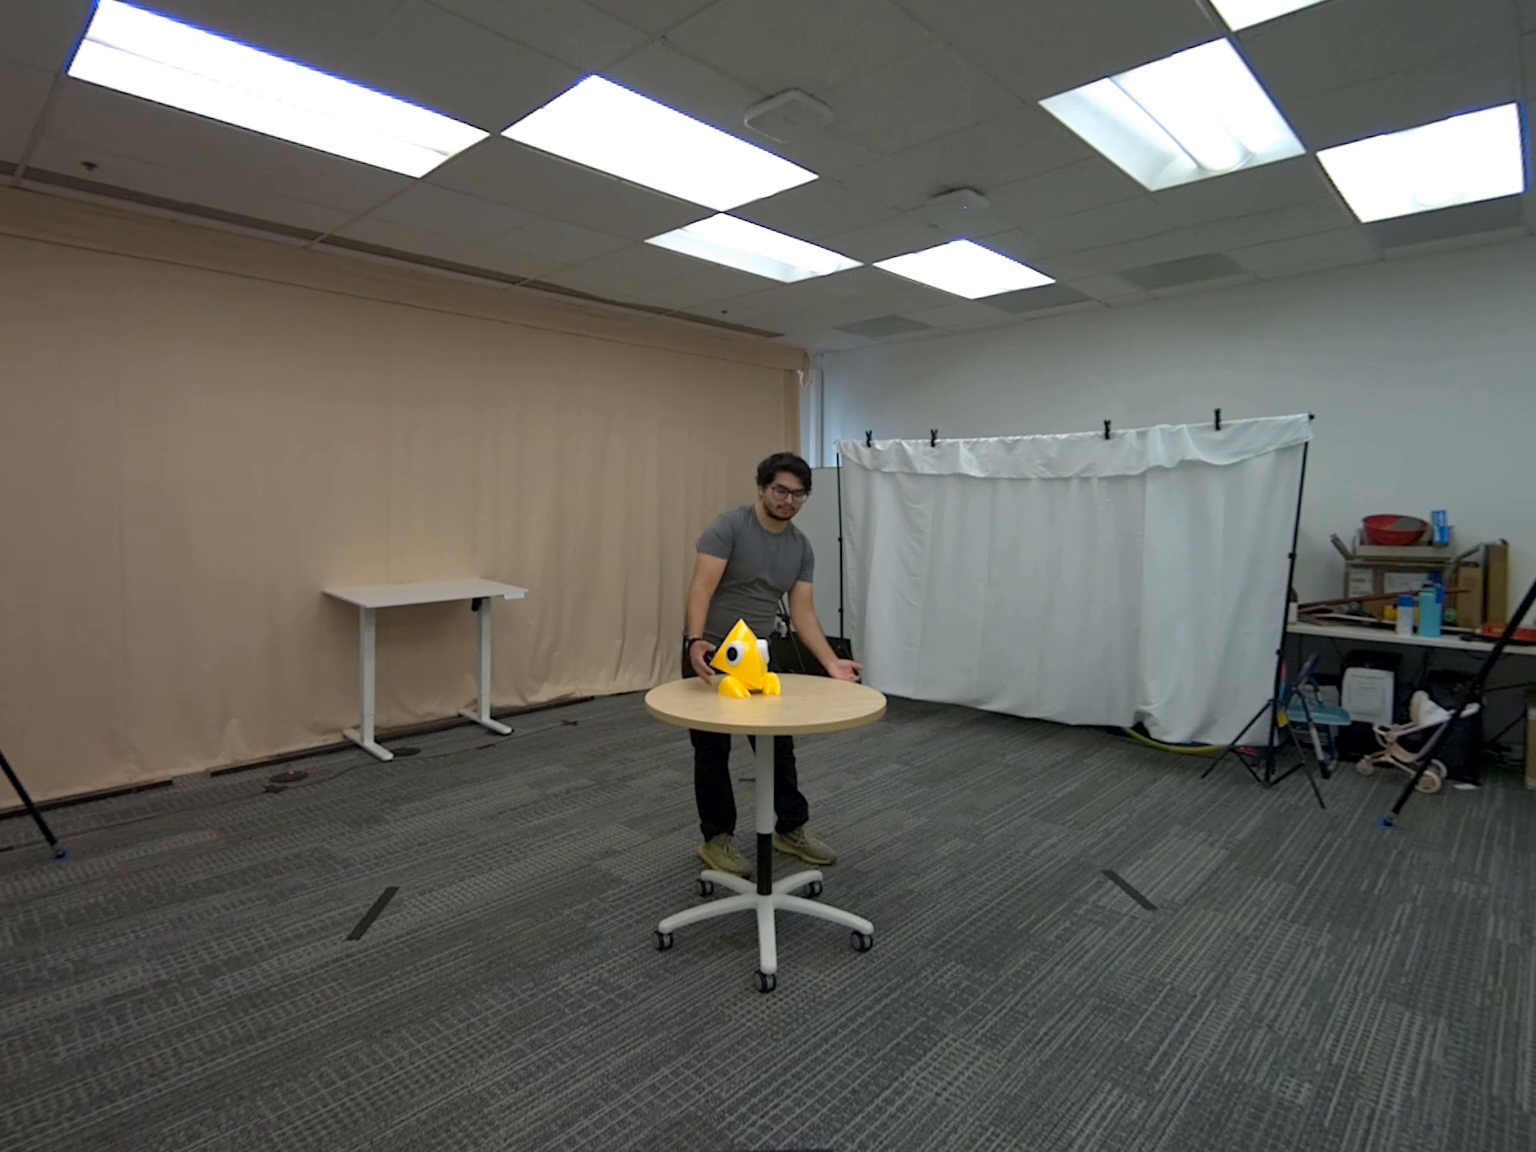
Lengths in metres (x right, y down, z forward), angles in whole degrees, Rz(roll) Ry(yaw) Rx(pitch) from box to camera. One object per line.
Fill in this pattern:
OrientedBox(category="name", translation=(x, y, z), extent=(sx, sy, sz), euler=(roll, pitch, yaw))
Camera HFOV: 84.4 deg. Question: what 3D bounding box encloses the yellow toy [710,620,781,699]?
OrientedBox(category="yellow toy", translation=(-0.060, 0.265, 2.771), extent=(0.200, 0.230, 0.198), euler=(-2, 3, -24))
